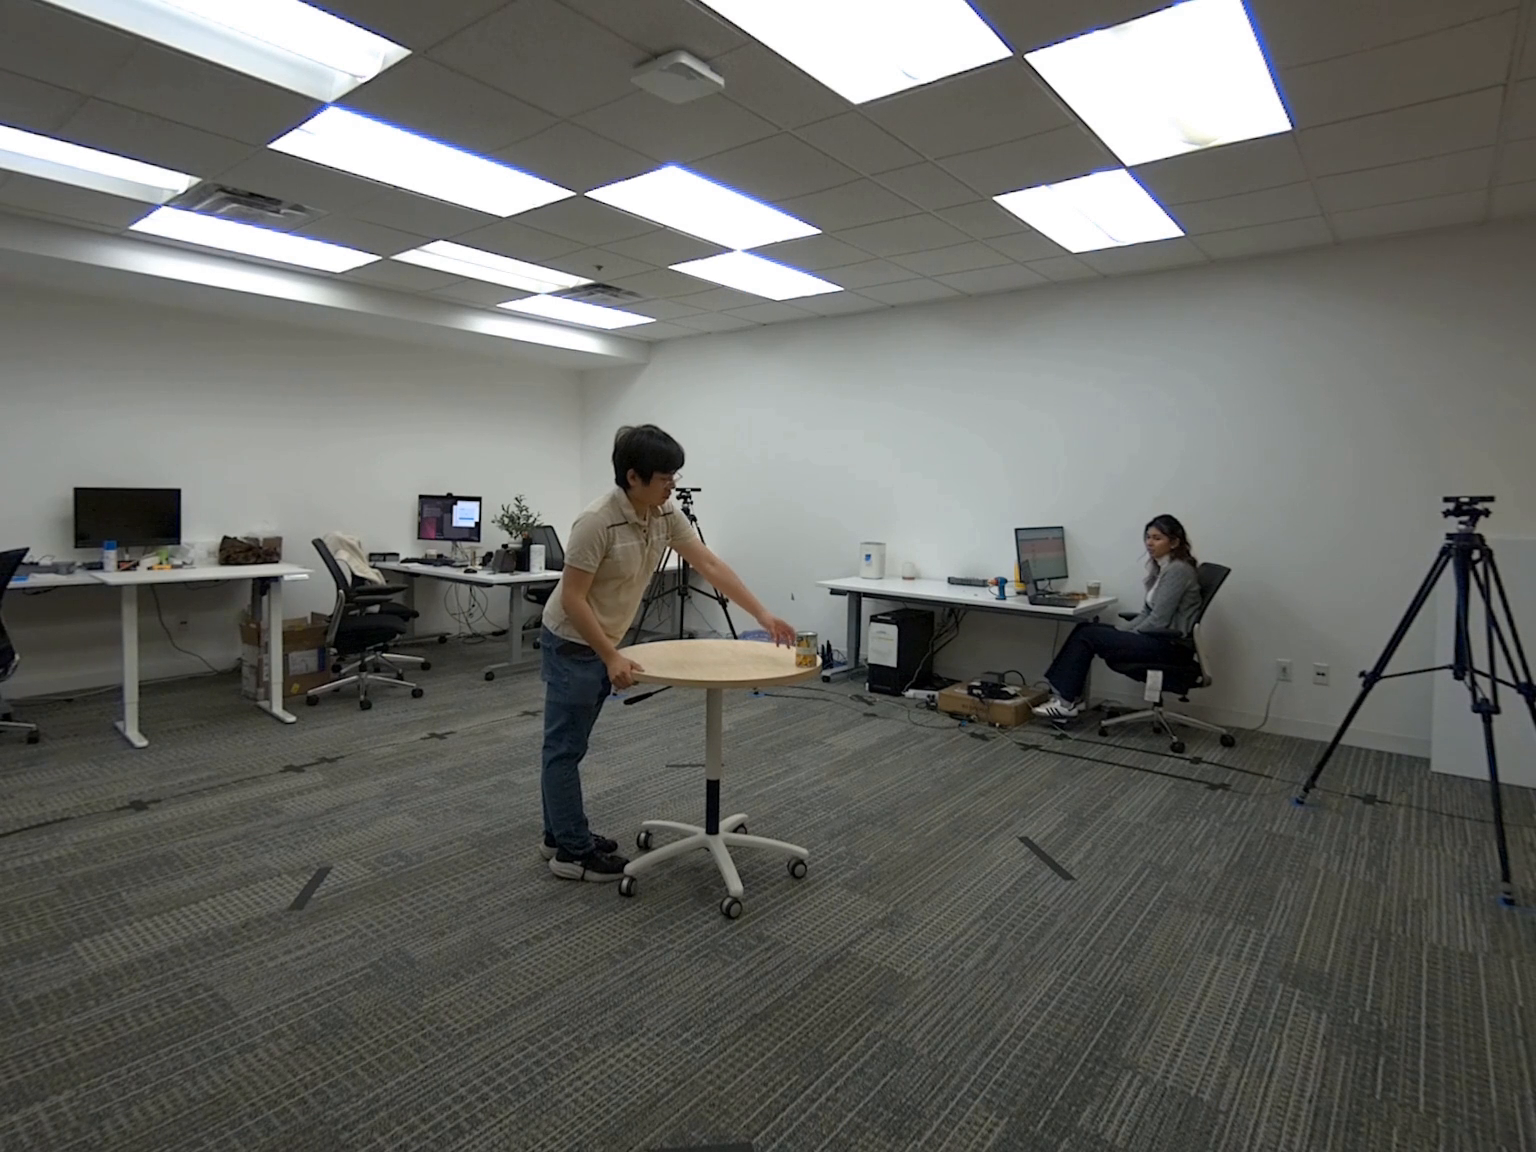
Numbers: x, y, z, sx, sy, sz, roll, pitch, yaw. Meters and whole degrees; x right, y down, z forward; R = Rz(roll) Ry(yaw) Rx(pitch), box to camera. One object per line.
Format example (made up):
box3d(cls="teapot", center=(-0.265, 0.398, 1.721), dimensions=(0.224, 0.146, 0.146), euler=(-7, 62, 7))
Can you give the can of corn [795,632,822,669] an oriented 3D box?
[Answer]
box3d(cls="can of corn", center=(0.119, 0.250, 2.921), dimensions=(0.074, 0.110, 0.075), euler=(-2, 8, -1))
